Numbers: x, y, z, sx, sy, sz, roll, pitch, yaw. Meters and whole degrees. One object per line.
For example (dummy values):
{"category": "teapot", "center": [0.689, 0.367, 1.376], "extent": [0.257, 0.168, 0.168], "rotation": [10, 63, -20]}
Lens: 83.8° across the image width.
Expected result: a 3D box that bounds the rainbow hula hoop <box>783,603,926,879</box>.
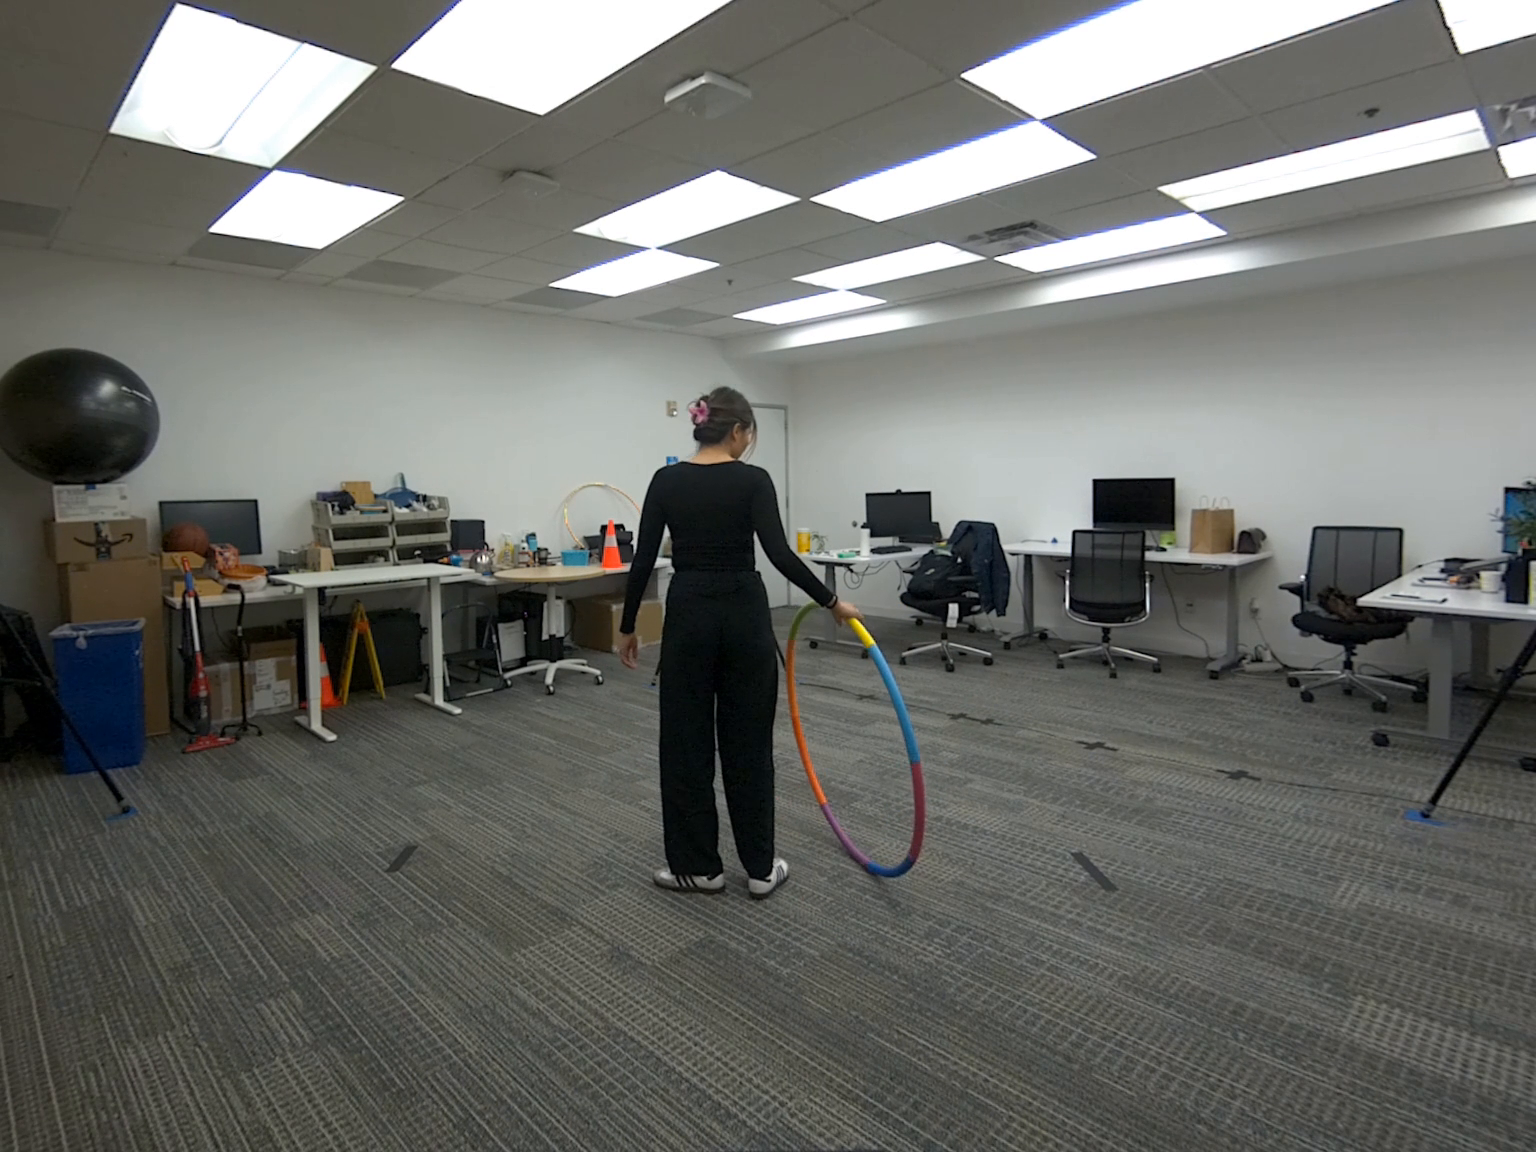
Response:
{"category": "rainbow hula hoop", "center": [0.275, 0.565, 3.038], "extent": [0.035, 0.972, 0.999], "rotation": [-10, 7, -20]}
